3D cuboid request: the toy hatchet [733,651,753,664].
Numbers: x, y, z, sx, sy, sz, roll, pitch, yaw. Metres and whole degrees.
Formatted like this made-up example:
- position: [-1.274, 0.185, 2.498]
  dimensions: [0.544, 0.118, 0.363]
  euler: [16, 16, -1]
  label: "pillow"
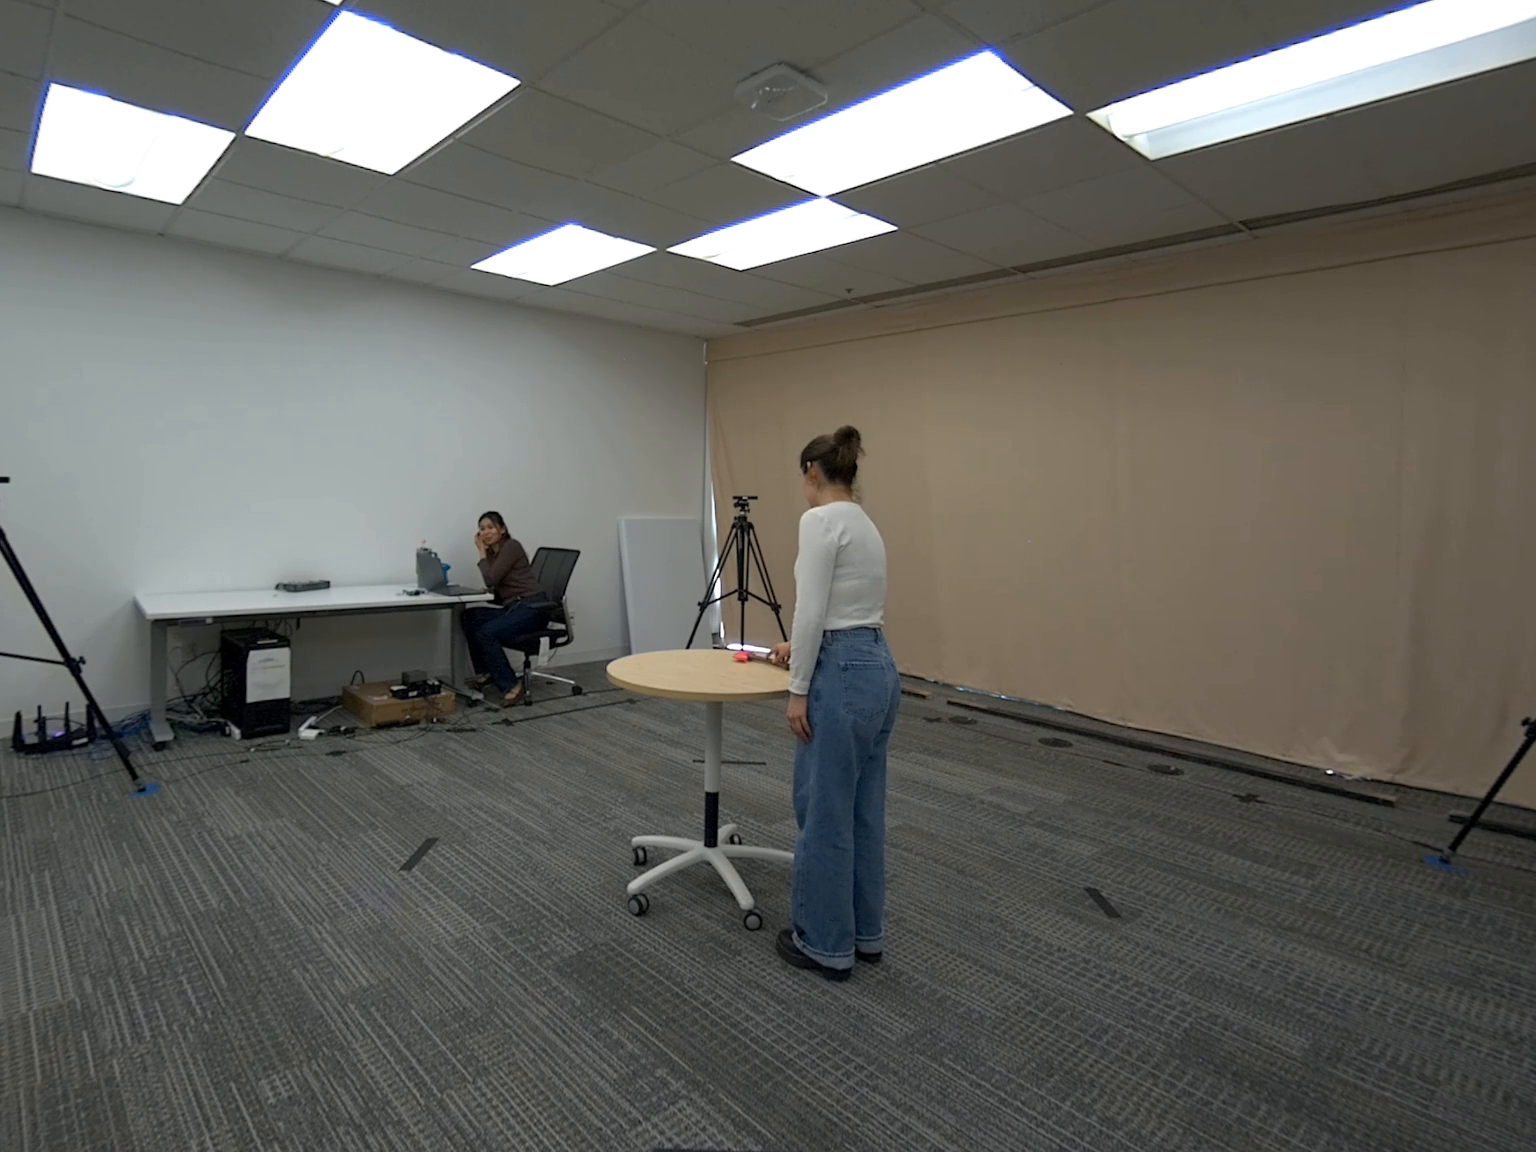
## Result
- position: [-0.040, 0.317, 3.080]
  dimensions: [0.128, 0.029, 0.277]
  euler: [2, 5, -35]
  label: "toy hatchet"
